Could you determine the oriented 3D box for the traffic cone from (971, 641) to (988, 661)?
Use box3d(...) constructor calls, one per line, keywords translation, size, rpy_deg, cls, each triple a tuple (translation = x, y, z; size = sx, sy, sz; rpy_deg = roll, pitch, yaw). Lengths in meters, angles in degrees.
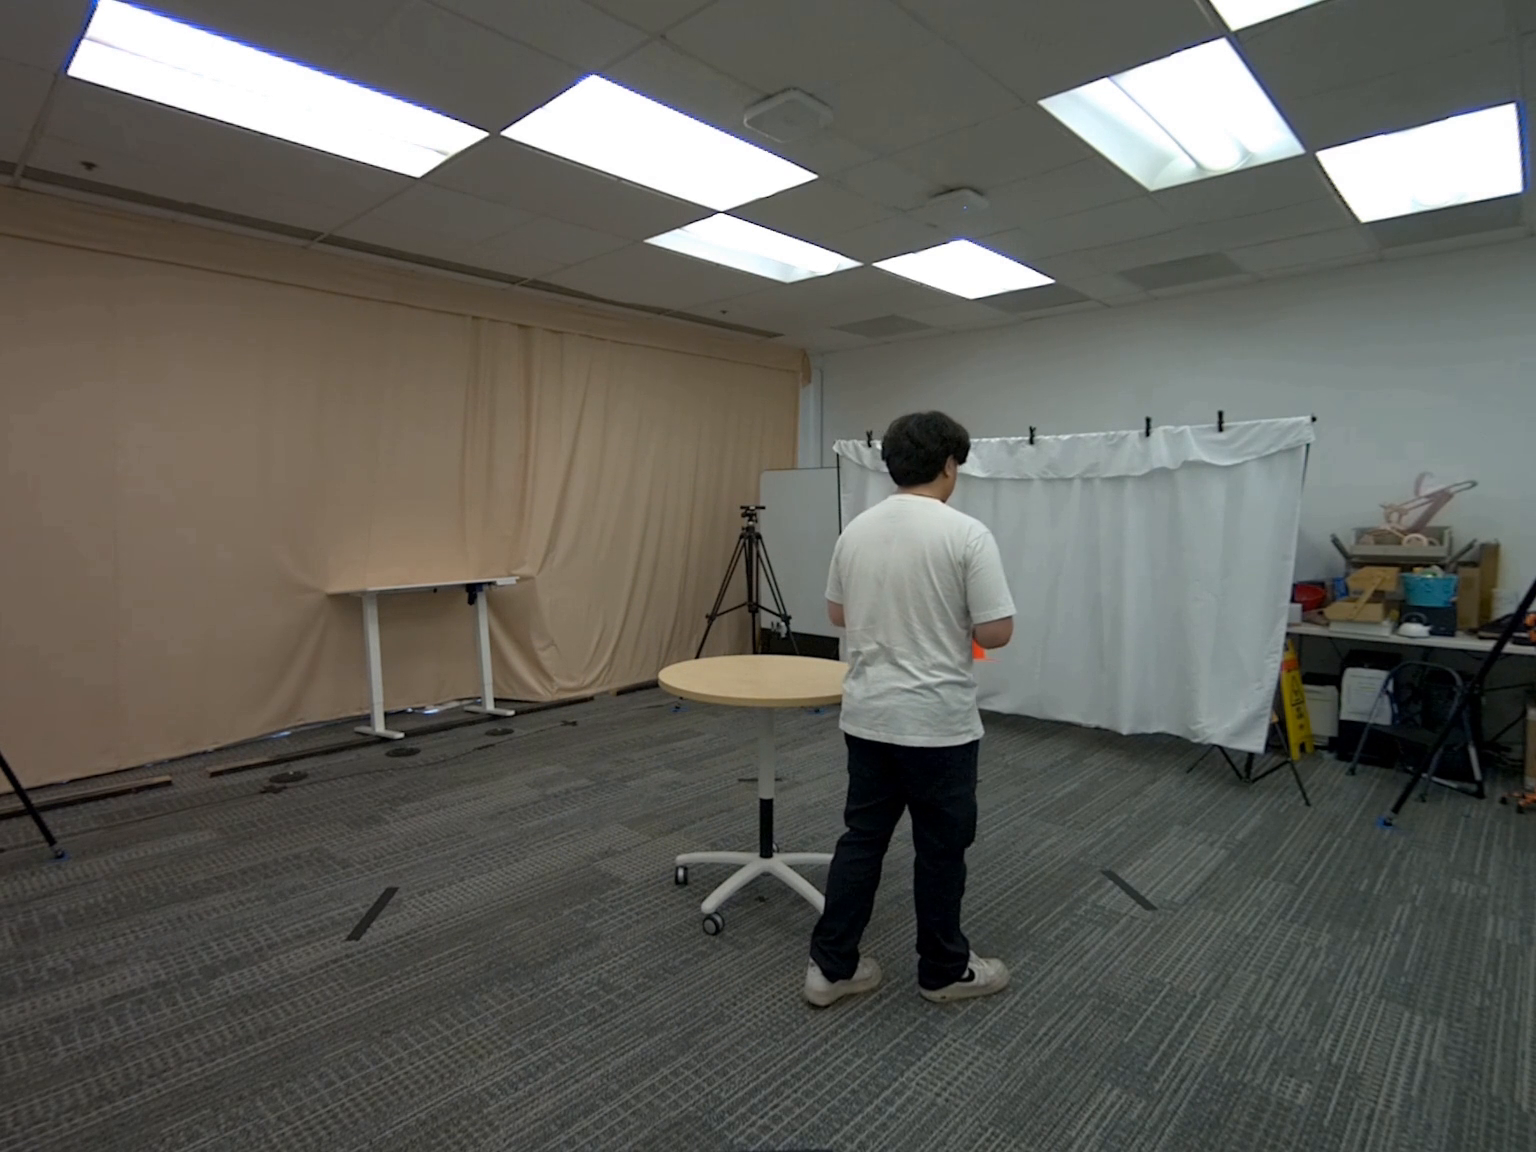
box3d(translation=(0.629, 0.055, 2.578), size=(0.210, 0.384, 0.198), rpy_deg=(7, -3, 40), cls="traffic cone")
